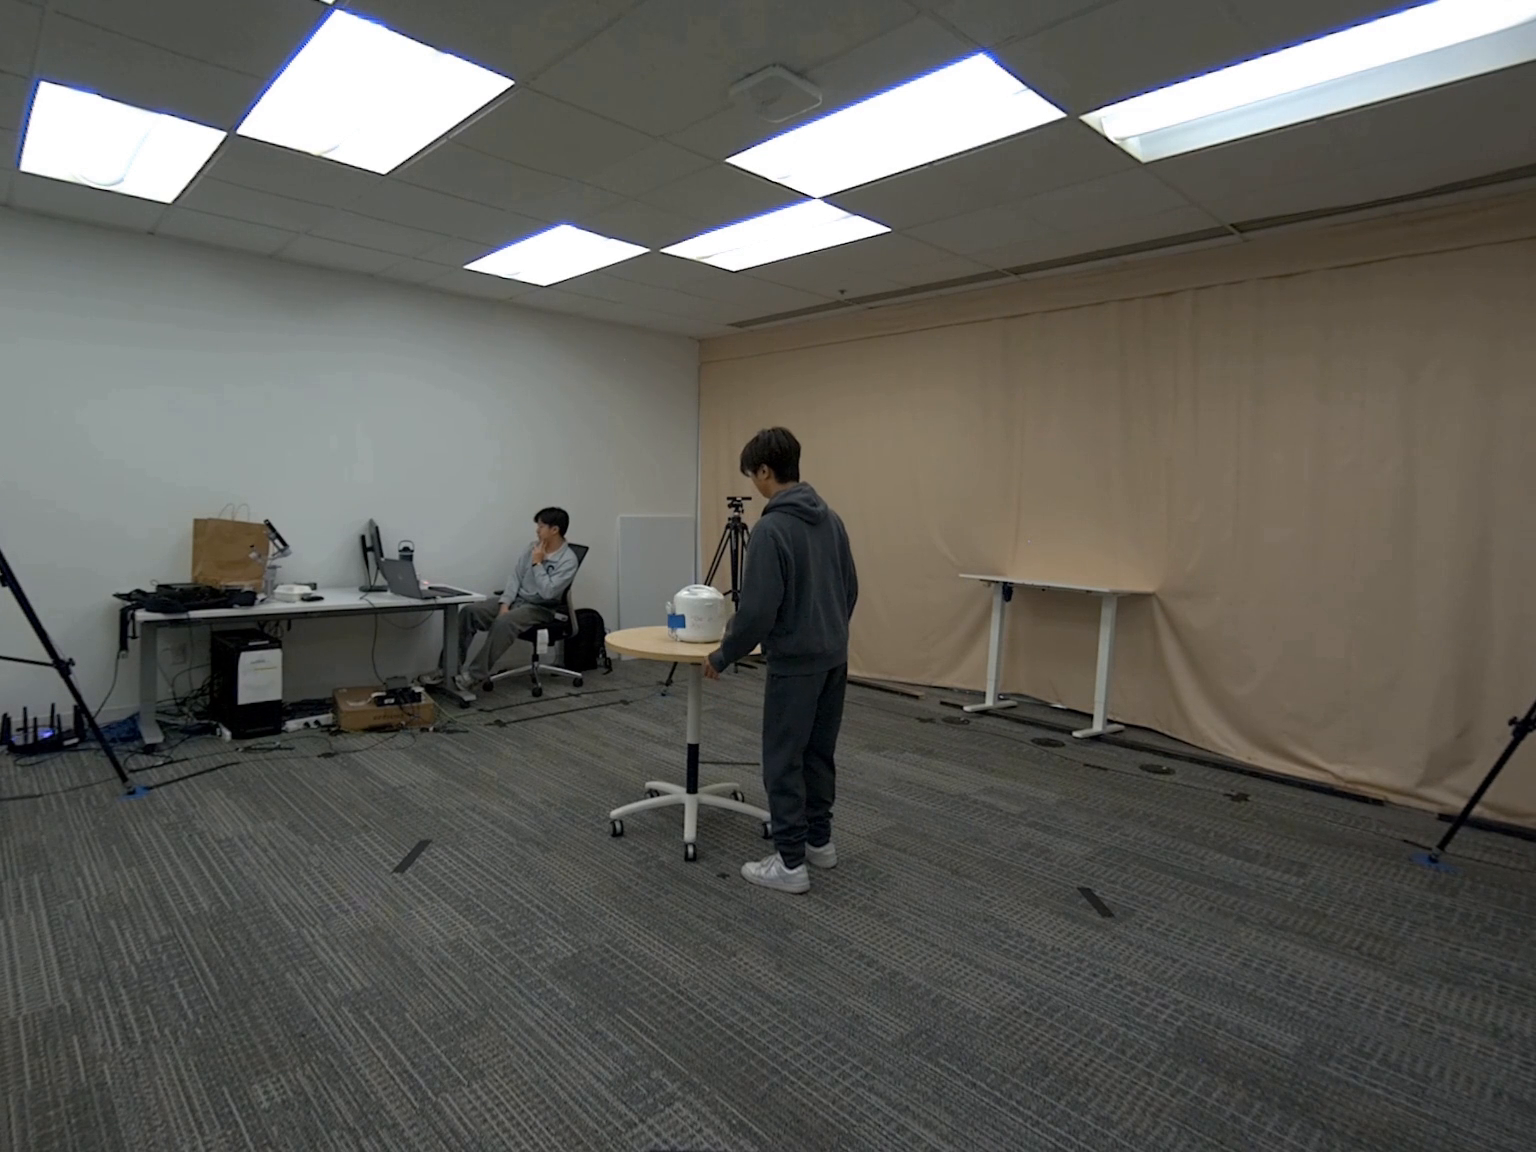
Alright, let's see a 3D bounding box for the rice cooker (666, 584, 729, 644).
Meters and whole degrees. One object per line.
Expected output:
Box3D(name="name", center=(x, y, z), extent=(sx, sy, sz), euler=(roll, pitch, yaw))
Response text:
Box3D(name="rice cooker", center=(-0.293, 0.152, 3.521), extent=(0.225, 0.232, 0.214), euler=(4, 5, 27))
